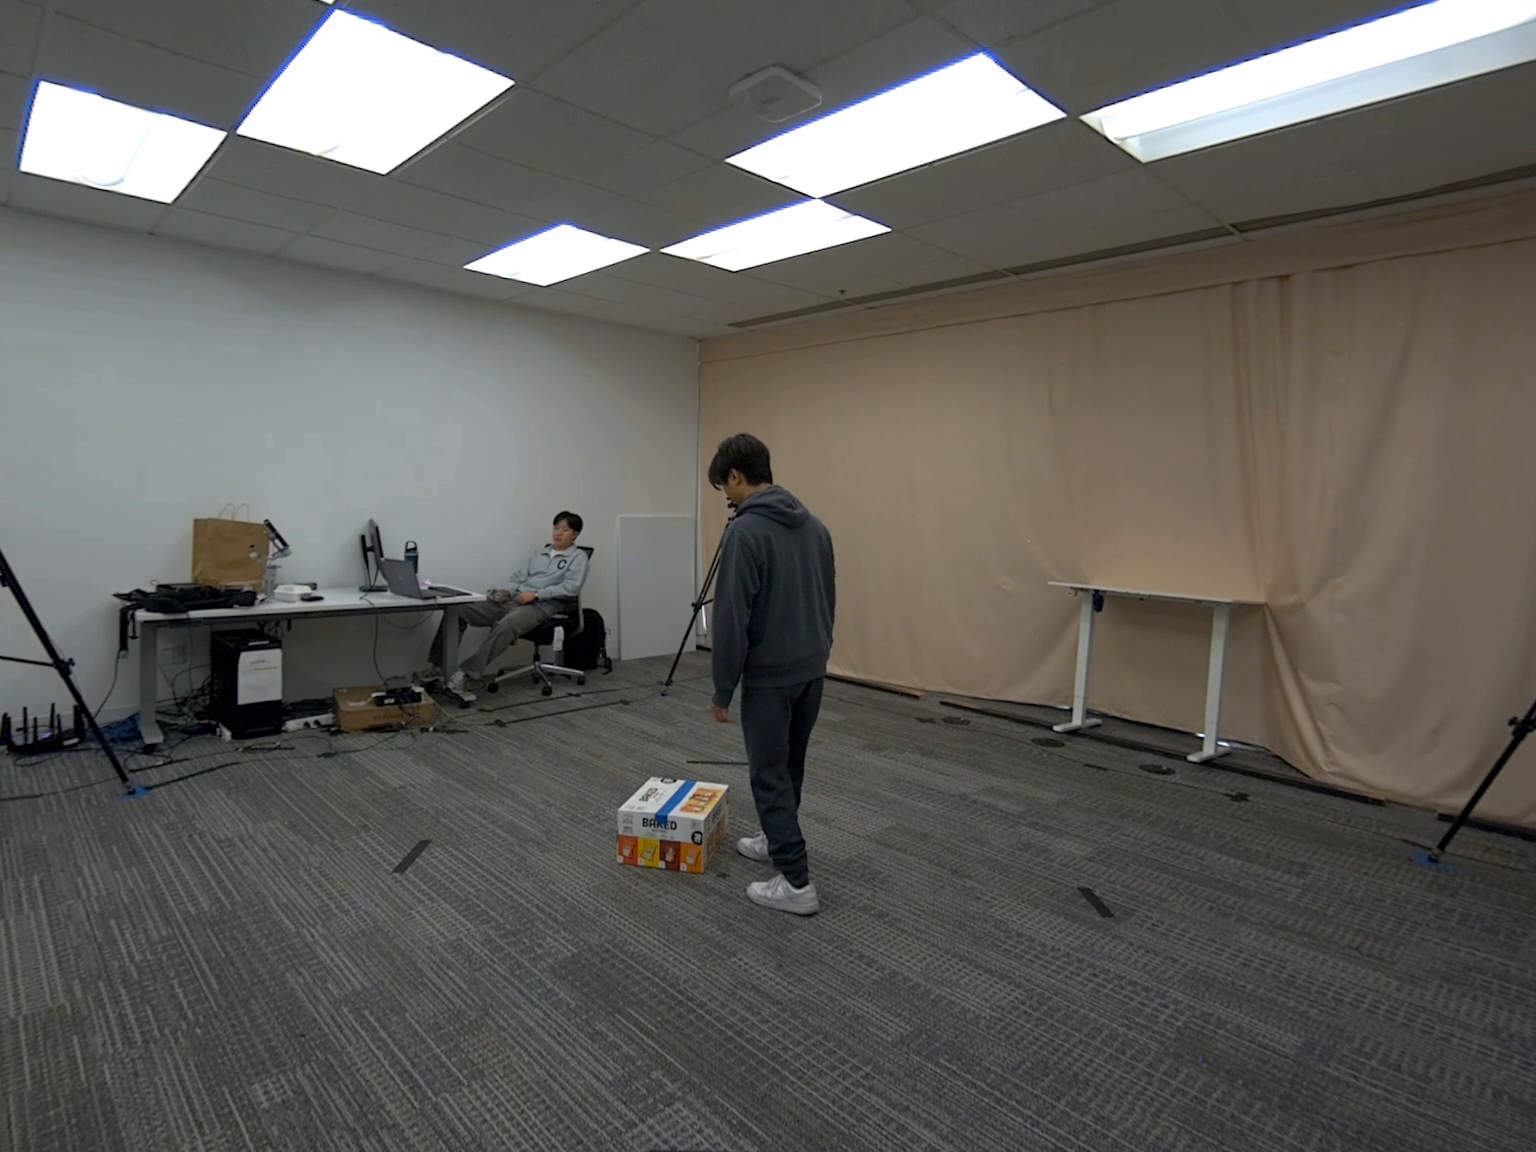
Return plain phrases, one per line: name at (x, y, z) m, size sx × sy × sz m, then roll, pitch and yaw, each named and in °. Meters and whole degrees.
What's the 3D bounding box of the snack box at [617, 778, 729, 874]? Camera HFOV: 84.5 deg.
snack box at (-0.373, 0.976, 3.338) m, size 0.344 × 0.205 × 0.402 m, roll 3°, pitch 5°, yaw 12°
